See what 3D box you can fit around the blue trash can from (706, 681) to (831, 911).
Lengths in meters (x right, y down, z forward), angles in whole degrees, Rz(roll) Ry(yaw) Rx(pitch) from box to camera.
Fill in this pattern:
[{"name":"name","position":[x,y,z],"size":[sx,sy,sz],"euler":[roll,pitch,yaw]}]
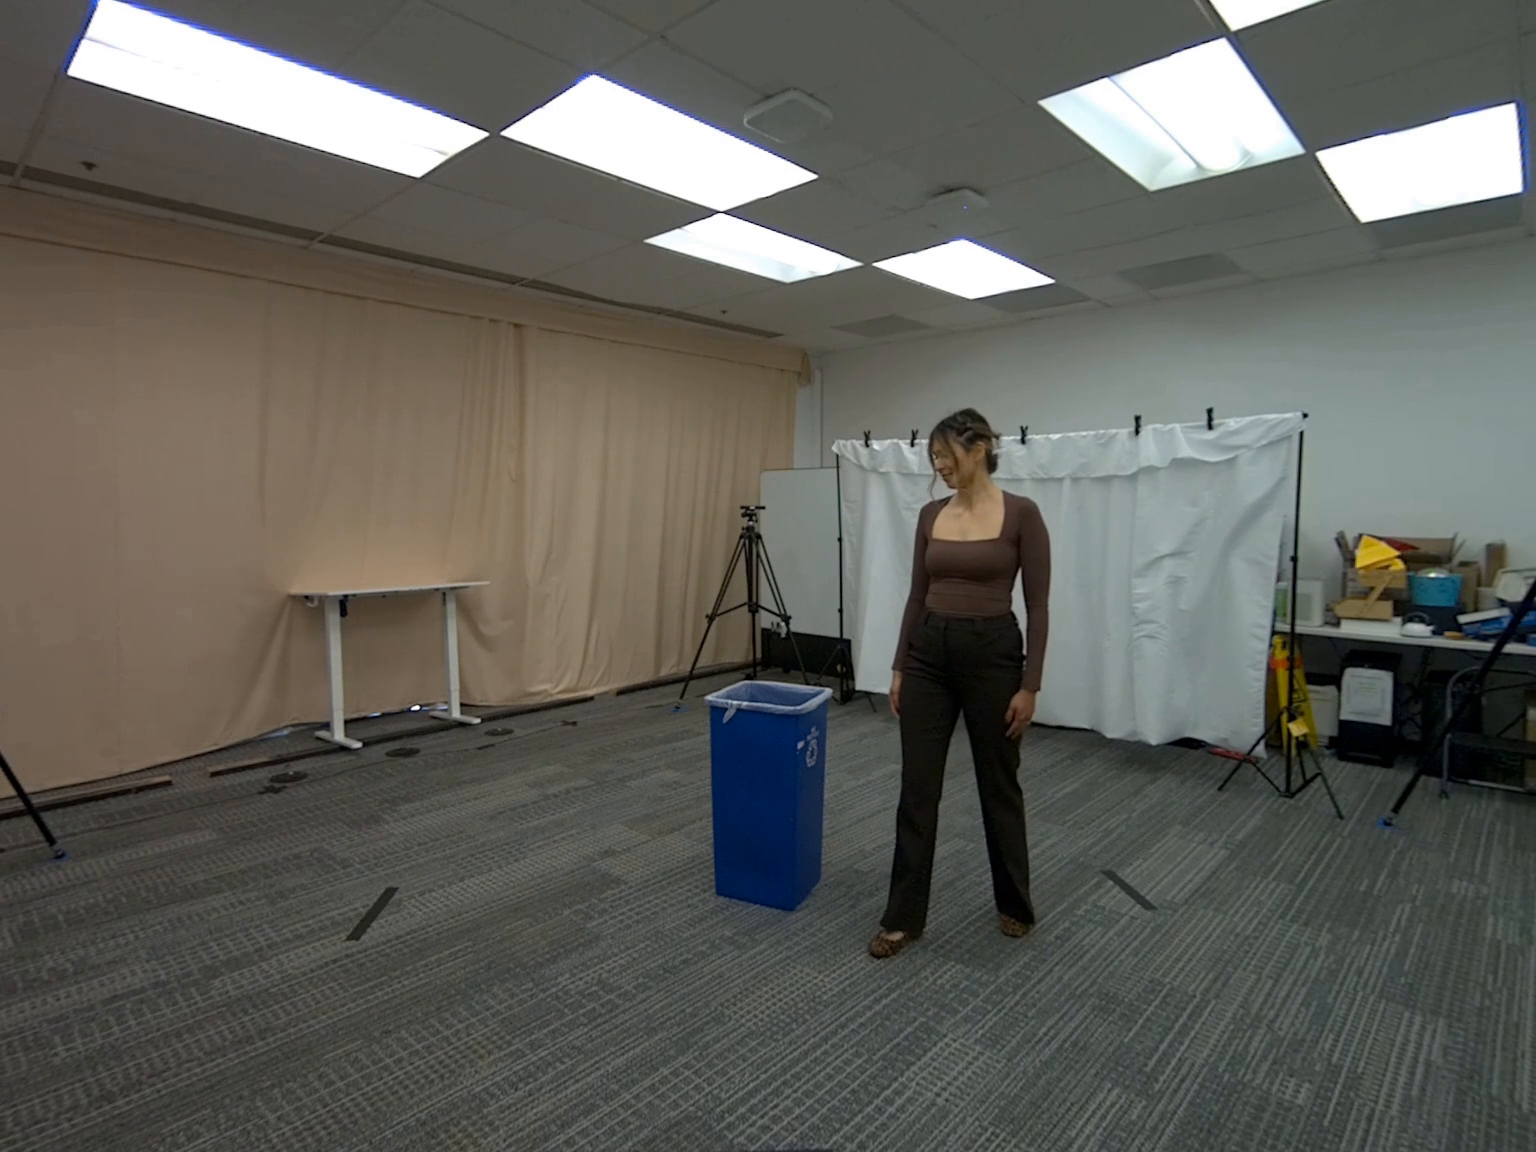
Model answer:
[{"name":"blue trash can","position":[0.004,0.779,3.064],"size":[0.383,0.712,0.369],"euler":[3,4,24]}]
